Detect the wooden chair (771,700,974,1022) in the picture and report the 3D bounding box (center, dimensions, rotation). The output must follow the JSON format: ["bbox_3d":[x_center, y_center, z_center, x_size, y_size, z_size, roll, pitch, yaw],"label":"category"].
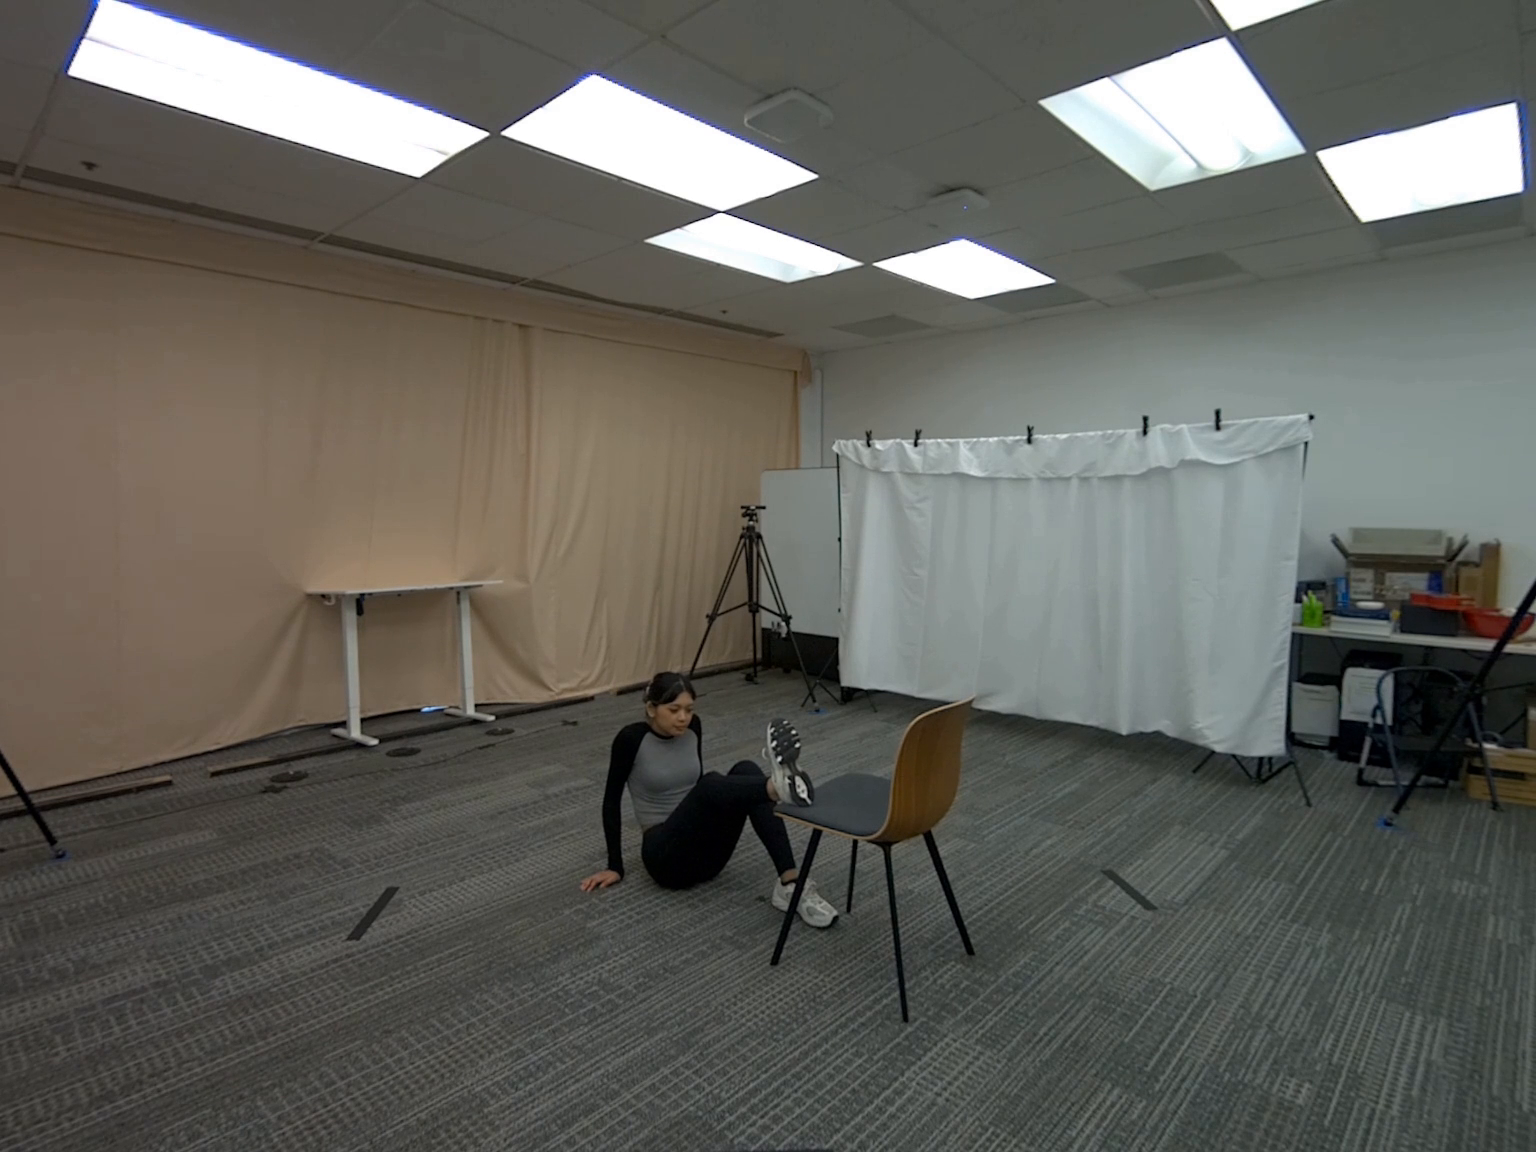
[{"bbox_3d":[0.321,0.751,2.554,0.541,0.874,0.464,8,8,38],"label":"wooden chair"}]
